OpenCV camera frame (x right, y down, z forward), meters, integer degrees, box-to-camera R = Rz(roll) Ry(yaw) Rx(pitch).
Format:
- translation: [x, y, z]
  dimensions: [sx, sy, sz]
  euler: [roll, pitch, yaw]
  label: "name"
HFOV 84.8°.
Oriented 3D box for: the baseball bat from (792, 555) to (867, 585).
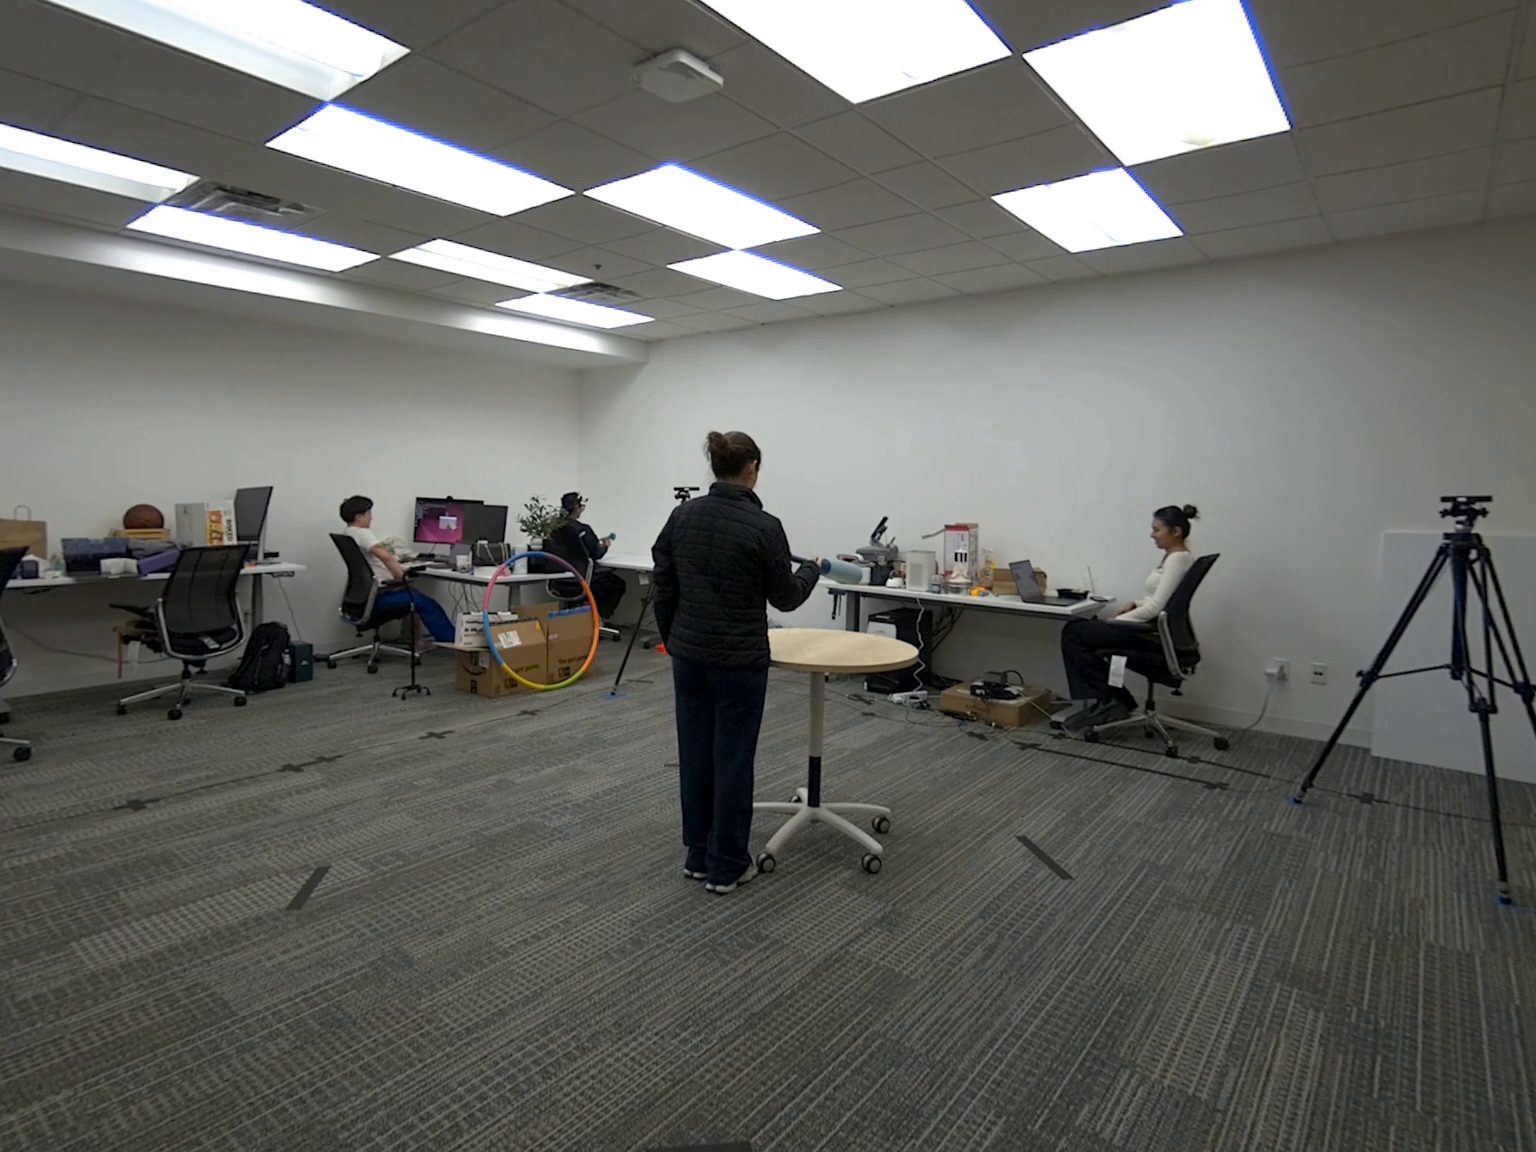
- translation: [0.234, -0.041, 3.372]
  dimensions: [0.092, 0.089, 0.523]
  euler: [4, -5, 39]
  label: "baseball bat"
